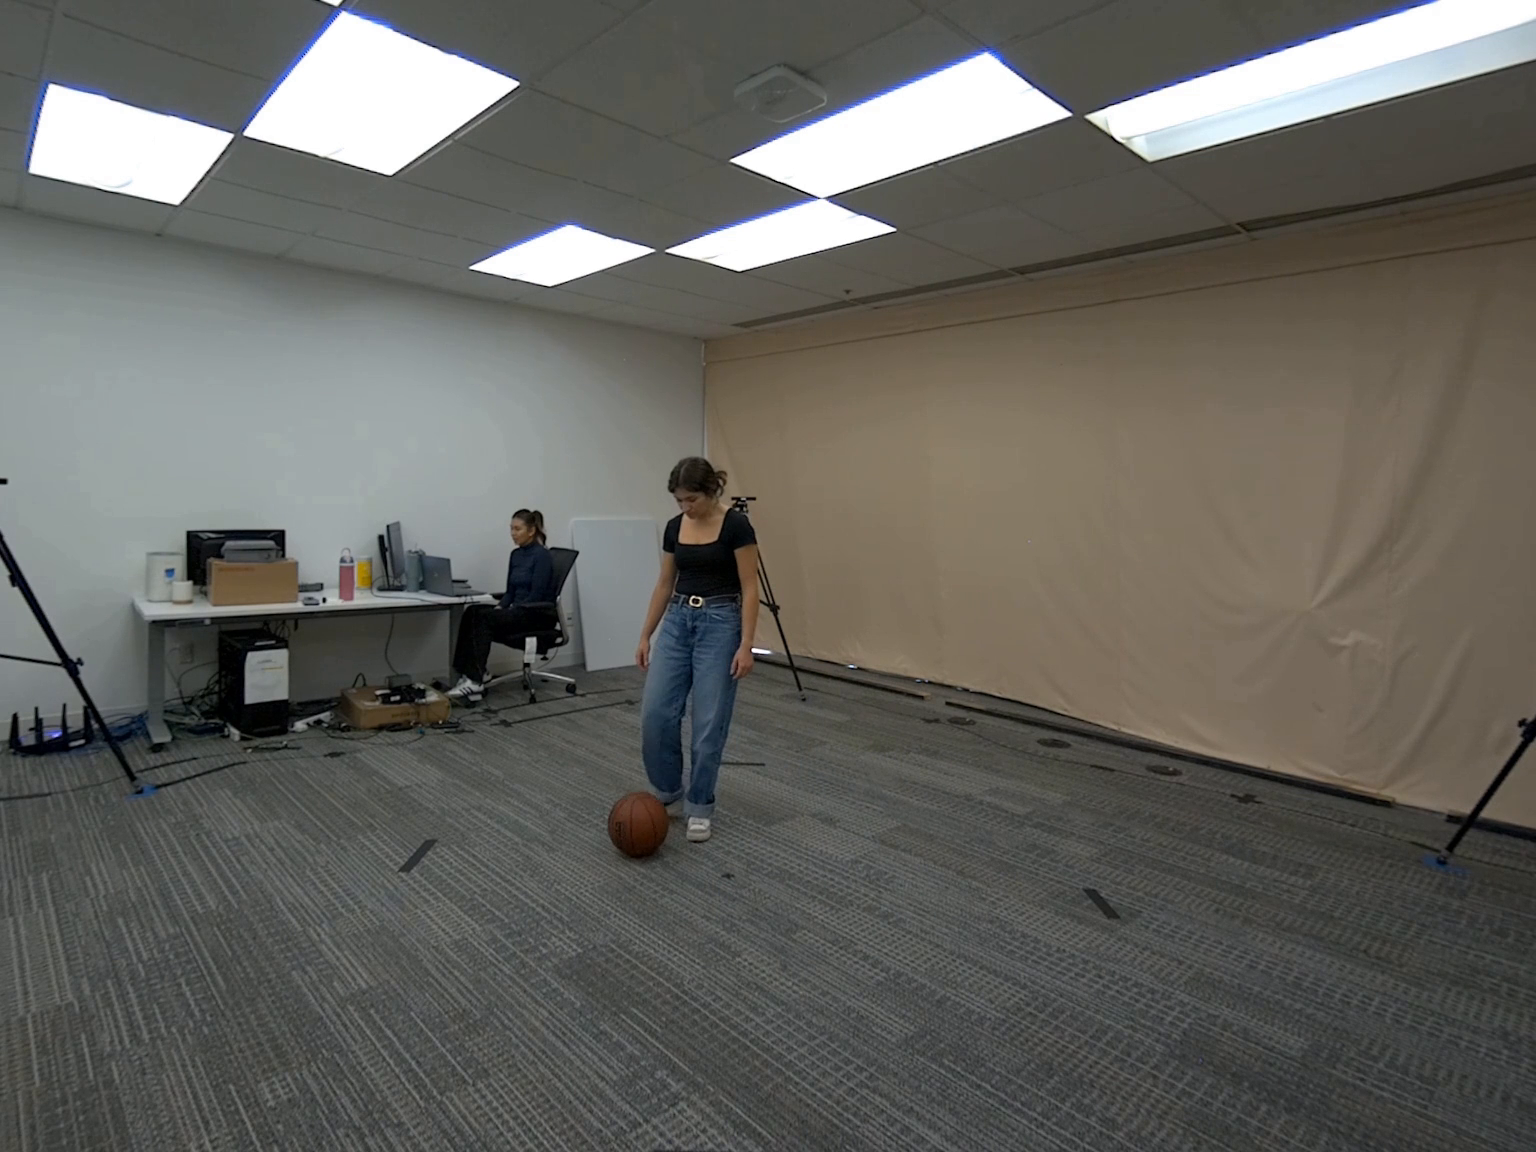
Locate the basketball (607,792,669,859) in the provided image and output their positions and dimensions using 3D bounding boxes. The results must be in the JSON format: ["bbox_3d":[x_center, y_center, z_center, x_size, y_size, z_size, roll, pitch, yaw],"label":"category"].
[{"bbox_3d":[-0.518,0.963,3.274,0.236,0.235,0.237,1,4,-1],"label":"basketball"}]
